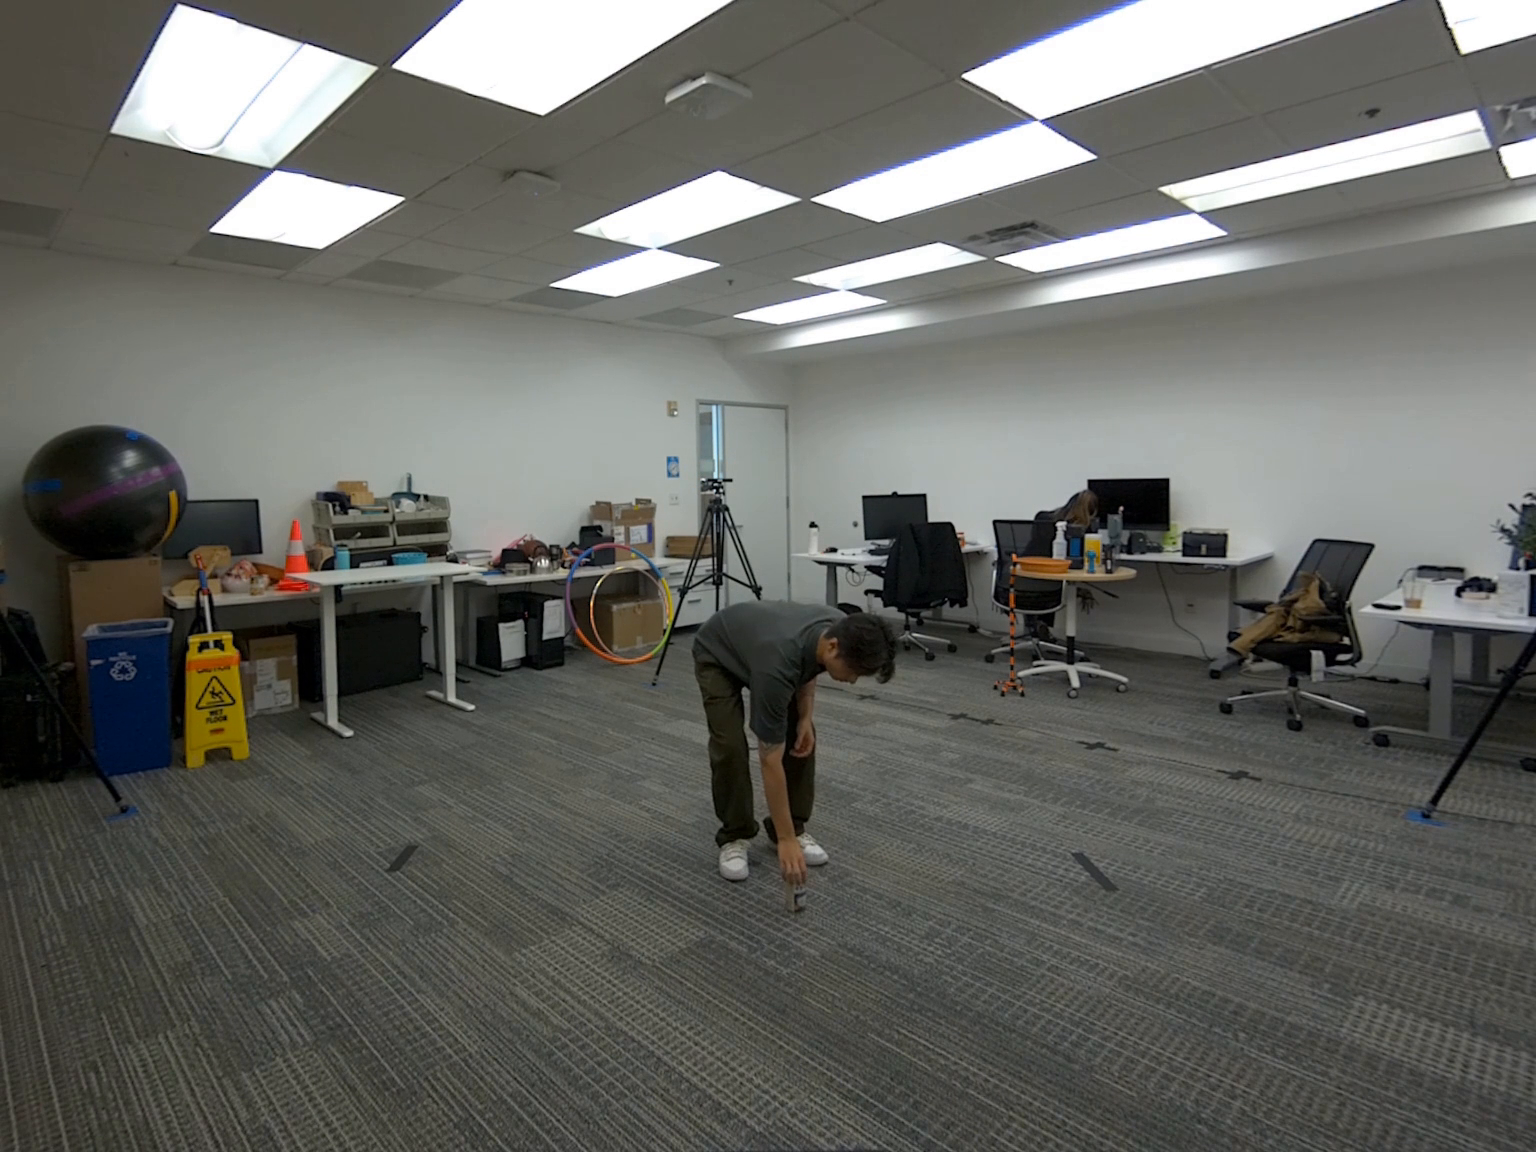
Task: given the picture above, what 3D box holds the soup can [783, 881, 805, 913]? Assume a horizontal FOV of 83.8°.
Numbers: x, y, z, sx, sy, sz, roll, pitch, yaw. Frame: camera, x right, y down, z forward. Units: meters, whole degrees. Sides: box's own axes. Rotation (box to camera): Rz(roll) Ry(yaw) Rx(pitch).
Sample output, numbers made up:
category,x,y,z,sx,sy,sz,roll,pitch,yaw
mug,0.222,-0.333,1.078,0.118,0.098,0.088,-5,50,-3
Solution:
category,x,y,z,sx,sy,sz,roll,pitch,yaw
soup can,0.093,1.028,2.772,0.067,0.121,0.067,-1,4,-2
